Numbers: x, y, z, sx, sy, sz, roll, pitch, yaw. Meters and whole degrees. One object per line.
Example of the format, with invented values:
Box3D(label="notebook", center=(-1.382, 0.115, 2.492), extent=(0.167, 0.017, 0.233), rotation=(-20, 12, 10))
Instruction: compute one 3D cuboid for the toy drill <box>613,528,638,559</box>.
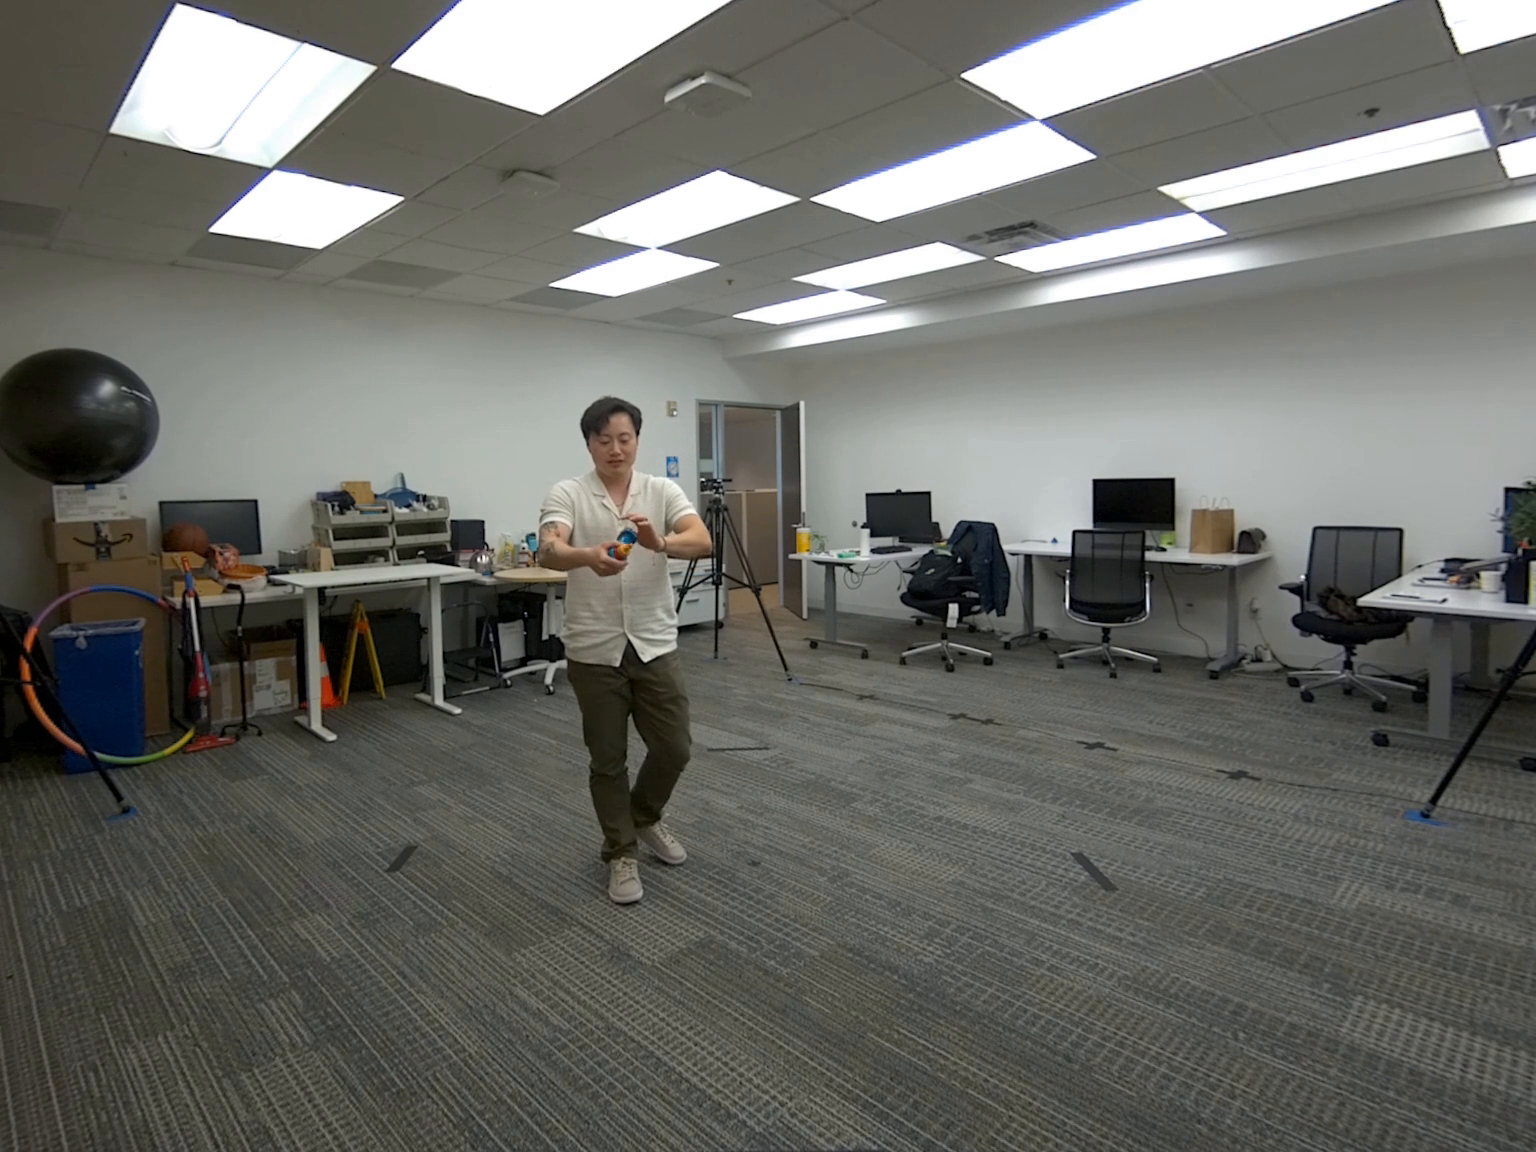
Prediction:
Box3D(label="toy drill", center=(-0.428, -0.088, 2.499), extent=(0.171, 0.060, 0.146), rotation=(-33, 16, 50))
